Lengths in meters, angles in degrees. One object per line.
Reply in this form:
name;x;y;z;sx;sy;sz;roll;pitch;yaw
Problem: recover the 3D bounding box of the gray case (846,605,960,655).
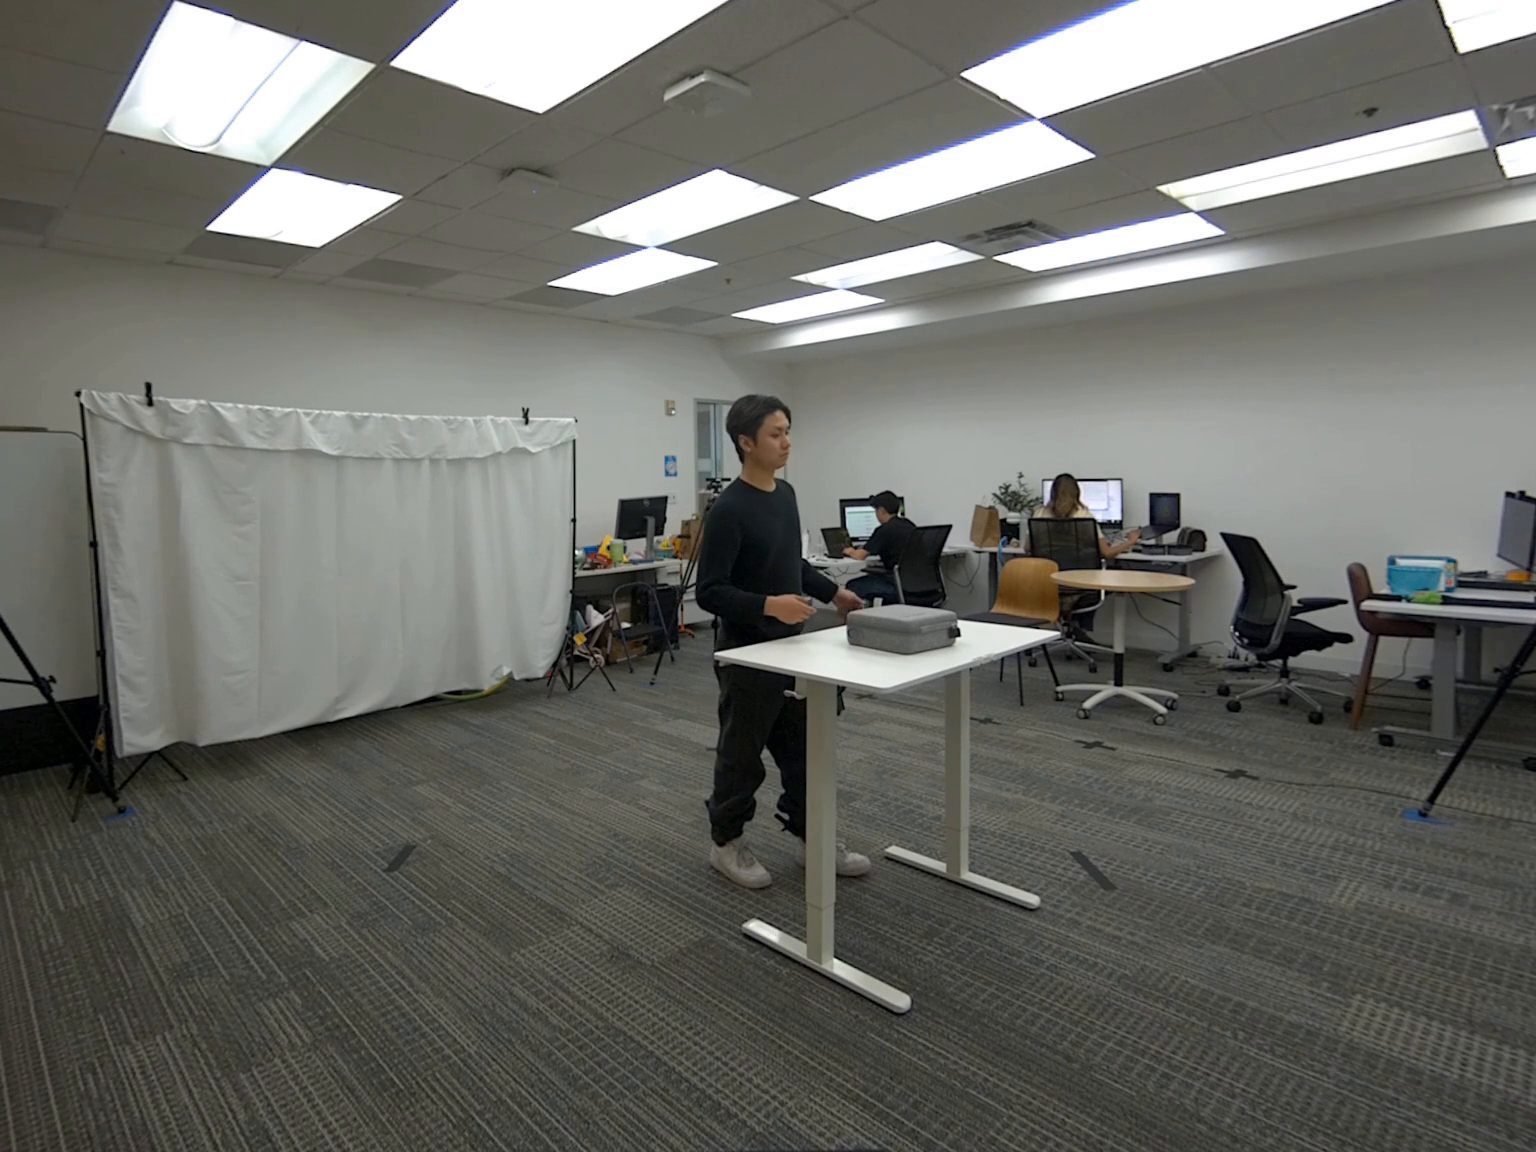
gray case;0.412;0.158;2.590;0.250;0.104;0.268;-6;7;-40
